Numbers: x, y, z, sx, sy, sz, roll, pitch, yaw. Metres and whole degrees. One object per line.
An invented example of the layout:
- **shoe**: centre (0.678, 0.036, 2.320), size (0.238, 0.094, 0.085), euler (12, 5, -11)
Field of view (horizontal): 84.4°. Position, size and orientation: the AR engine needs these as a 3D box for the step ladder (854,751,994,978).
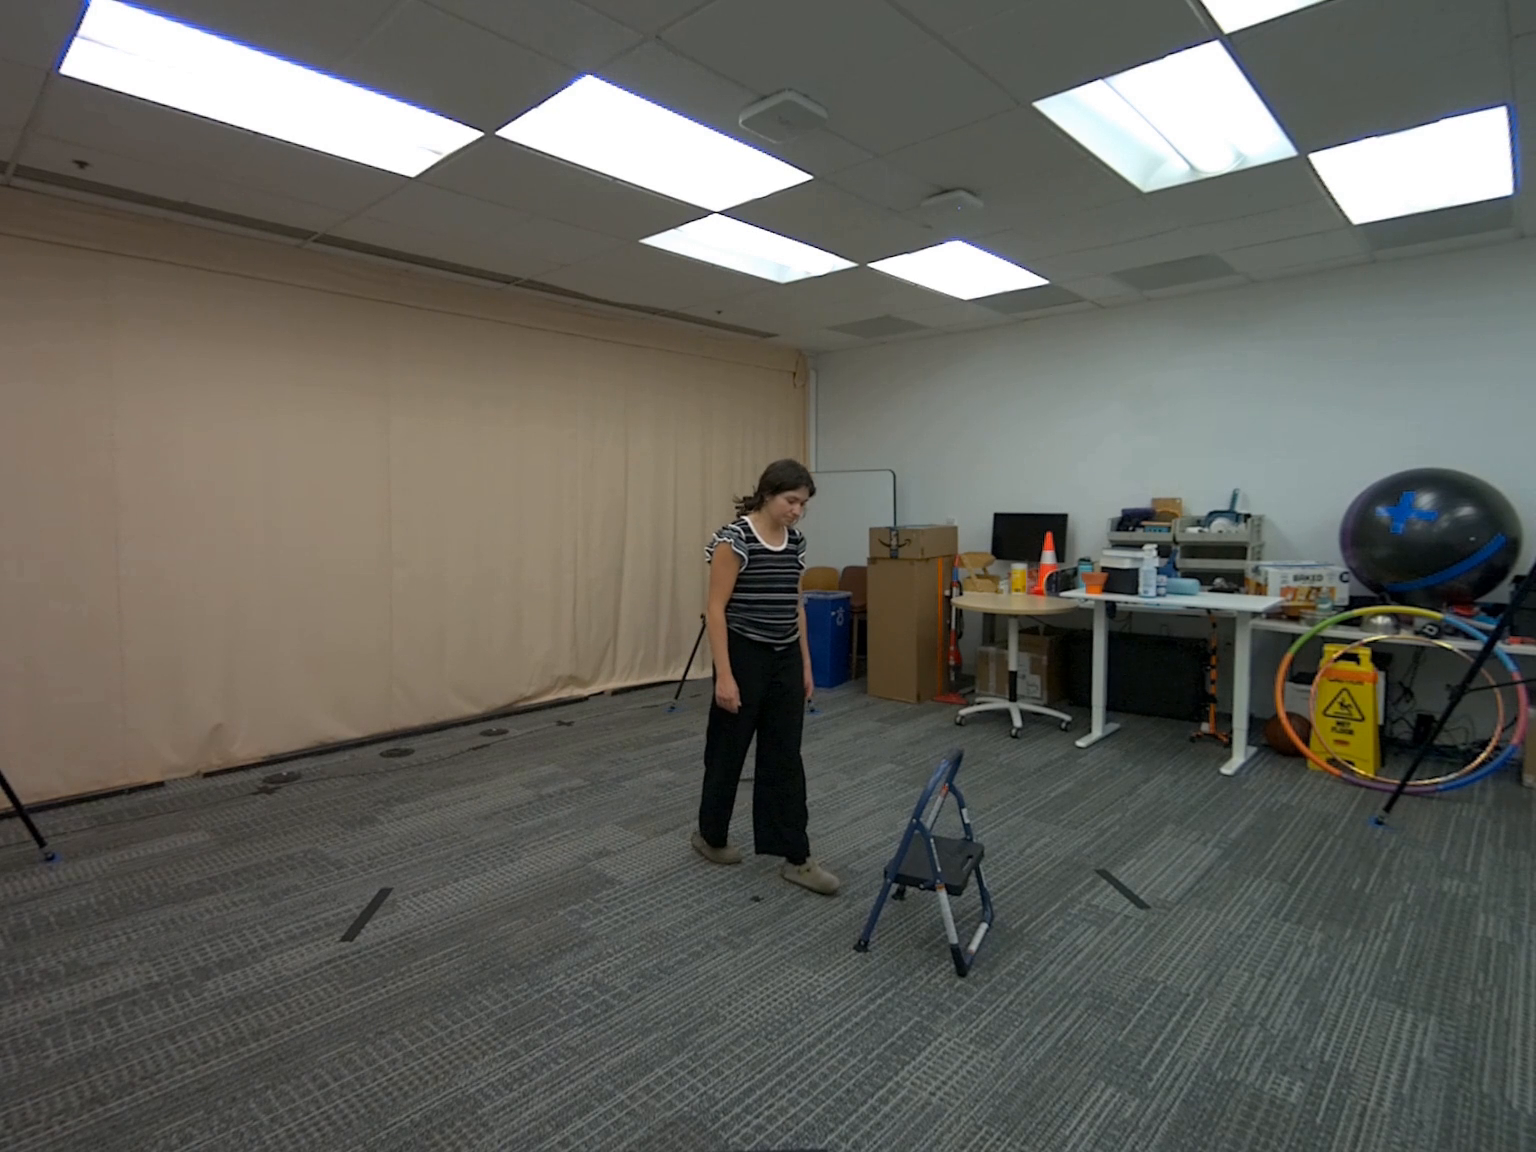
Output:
- **step ladder**: centre (0.520, 0.863, 2.721), size (0.359, 0.605, 0.420), euler (1, 4, 27)
